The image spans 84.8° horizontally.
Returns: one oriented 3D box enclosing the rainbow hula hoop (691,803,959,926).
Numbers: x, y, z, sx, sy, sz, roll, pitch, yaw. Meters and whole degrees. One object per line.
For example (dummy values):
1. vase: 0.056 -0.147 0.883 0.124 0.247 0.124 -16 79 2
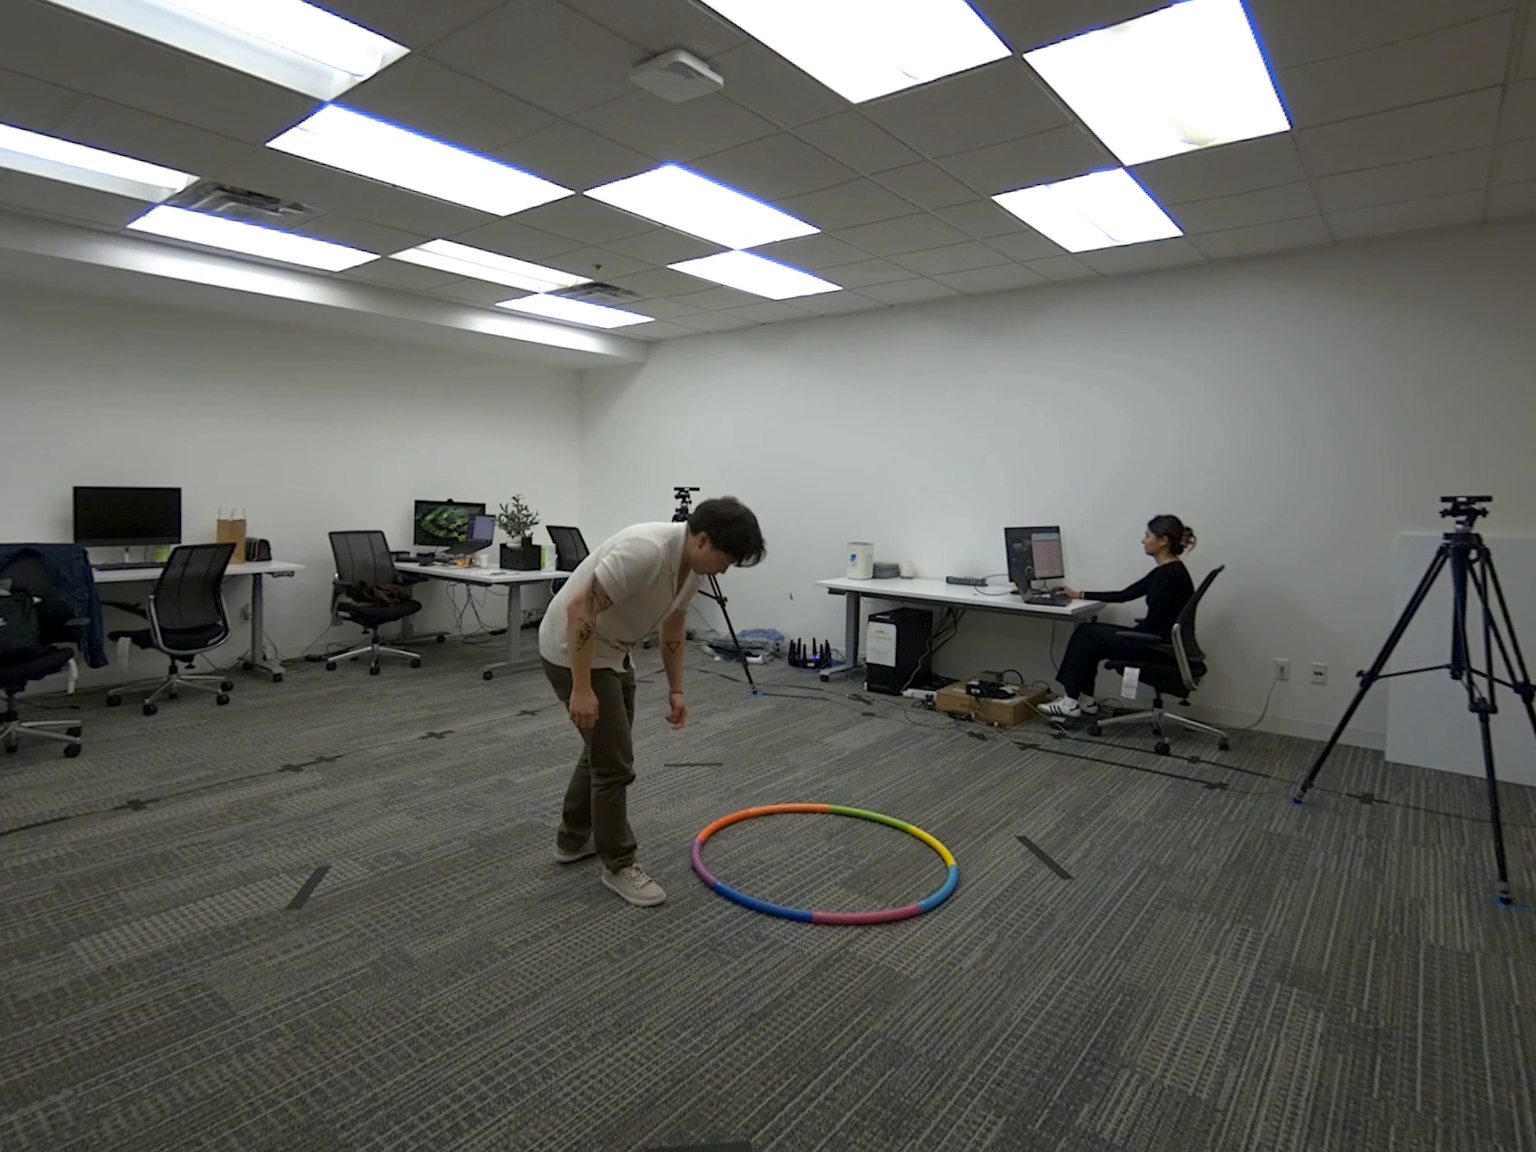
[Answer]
1. rainbow hula hoop: 0.193 1.035 3.200 0.978 0.035 0.984 1 6 -2
